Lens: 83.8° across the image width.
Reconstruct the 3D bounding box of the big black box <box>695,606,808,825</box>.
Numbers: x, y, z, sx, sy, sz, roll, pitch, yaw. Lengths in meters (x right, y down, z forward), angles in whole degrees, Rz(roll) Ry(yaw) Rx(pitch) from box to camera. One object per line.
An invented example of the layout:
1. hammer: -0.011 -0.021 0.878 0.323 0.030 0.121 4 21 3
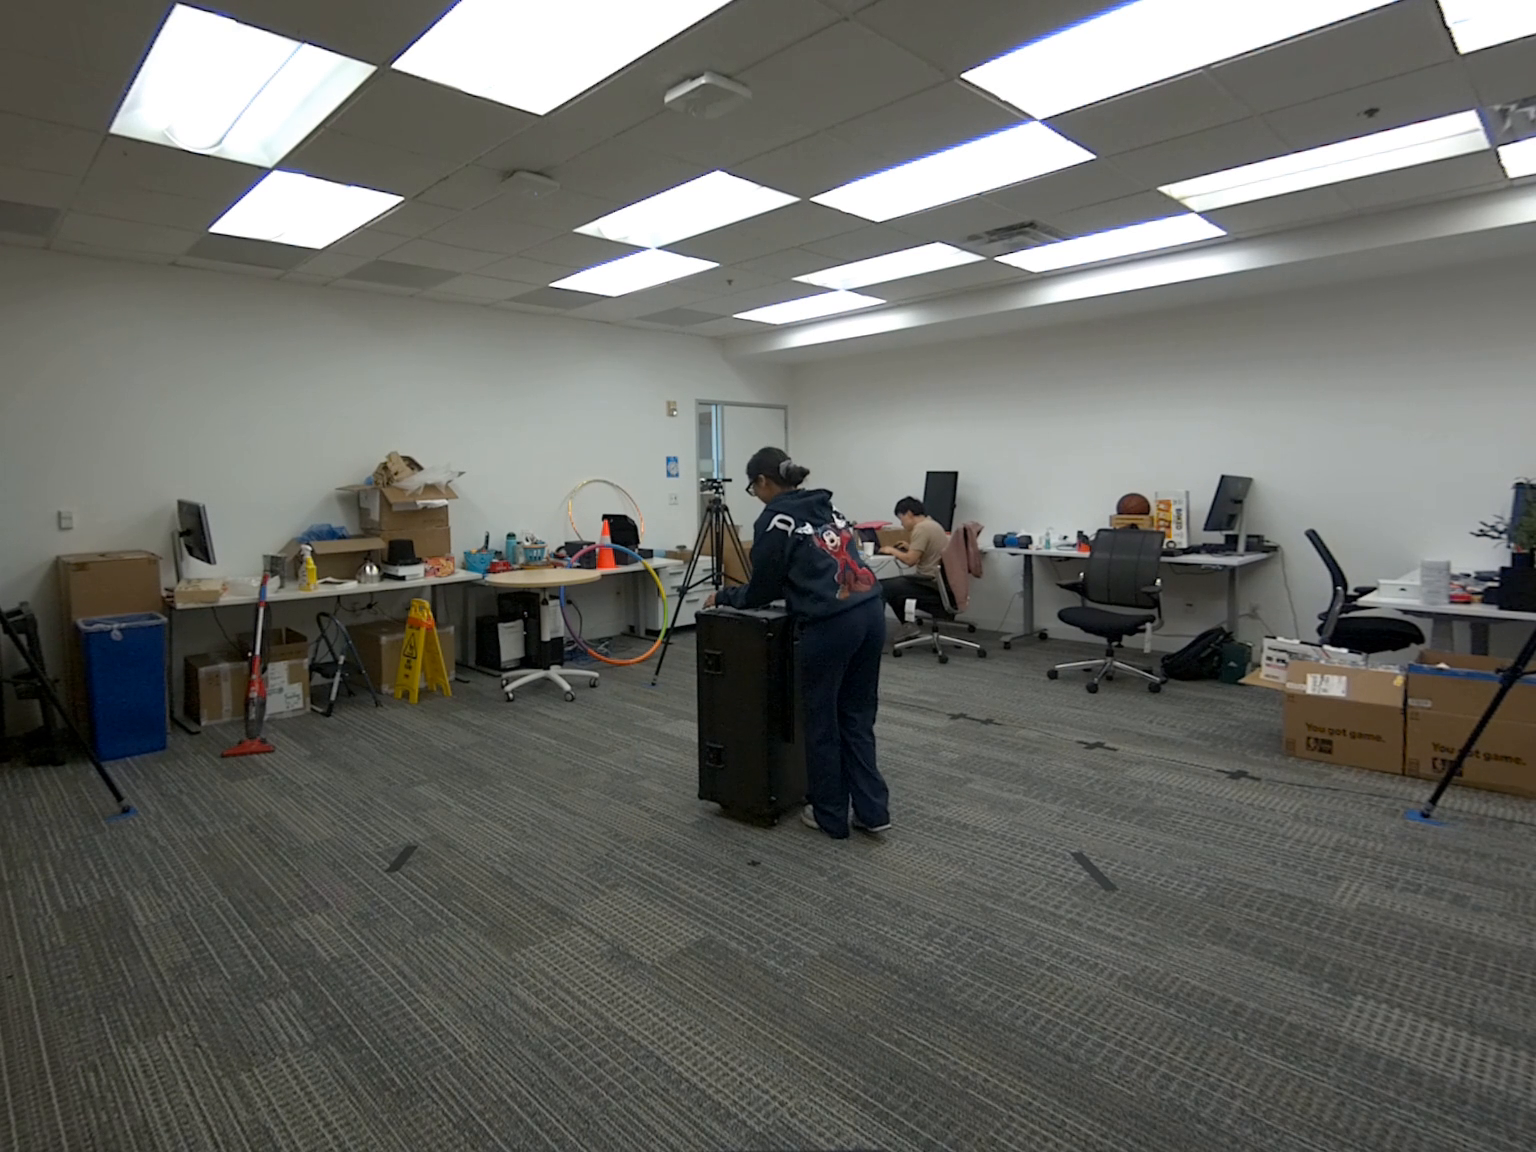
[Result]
1. big black box: -0.004 0.559 3.619 0.408 0.858 0.508 3 6 35
